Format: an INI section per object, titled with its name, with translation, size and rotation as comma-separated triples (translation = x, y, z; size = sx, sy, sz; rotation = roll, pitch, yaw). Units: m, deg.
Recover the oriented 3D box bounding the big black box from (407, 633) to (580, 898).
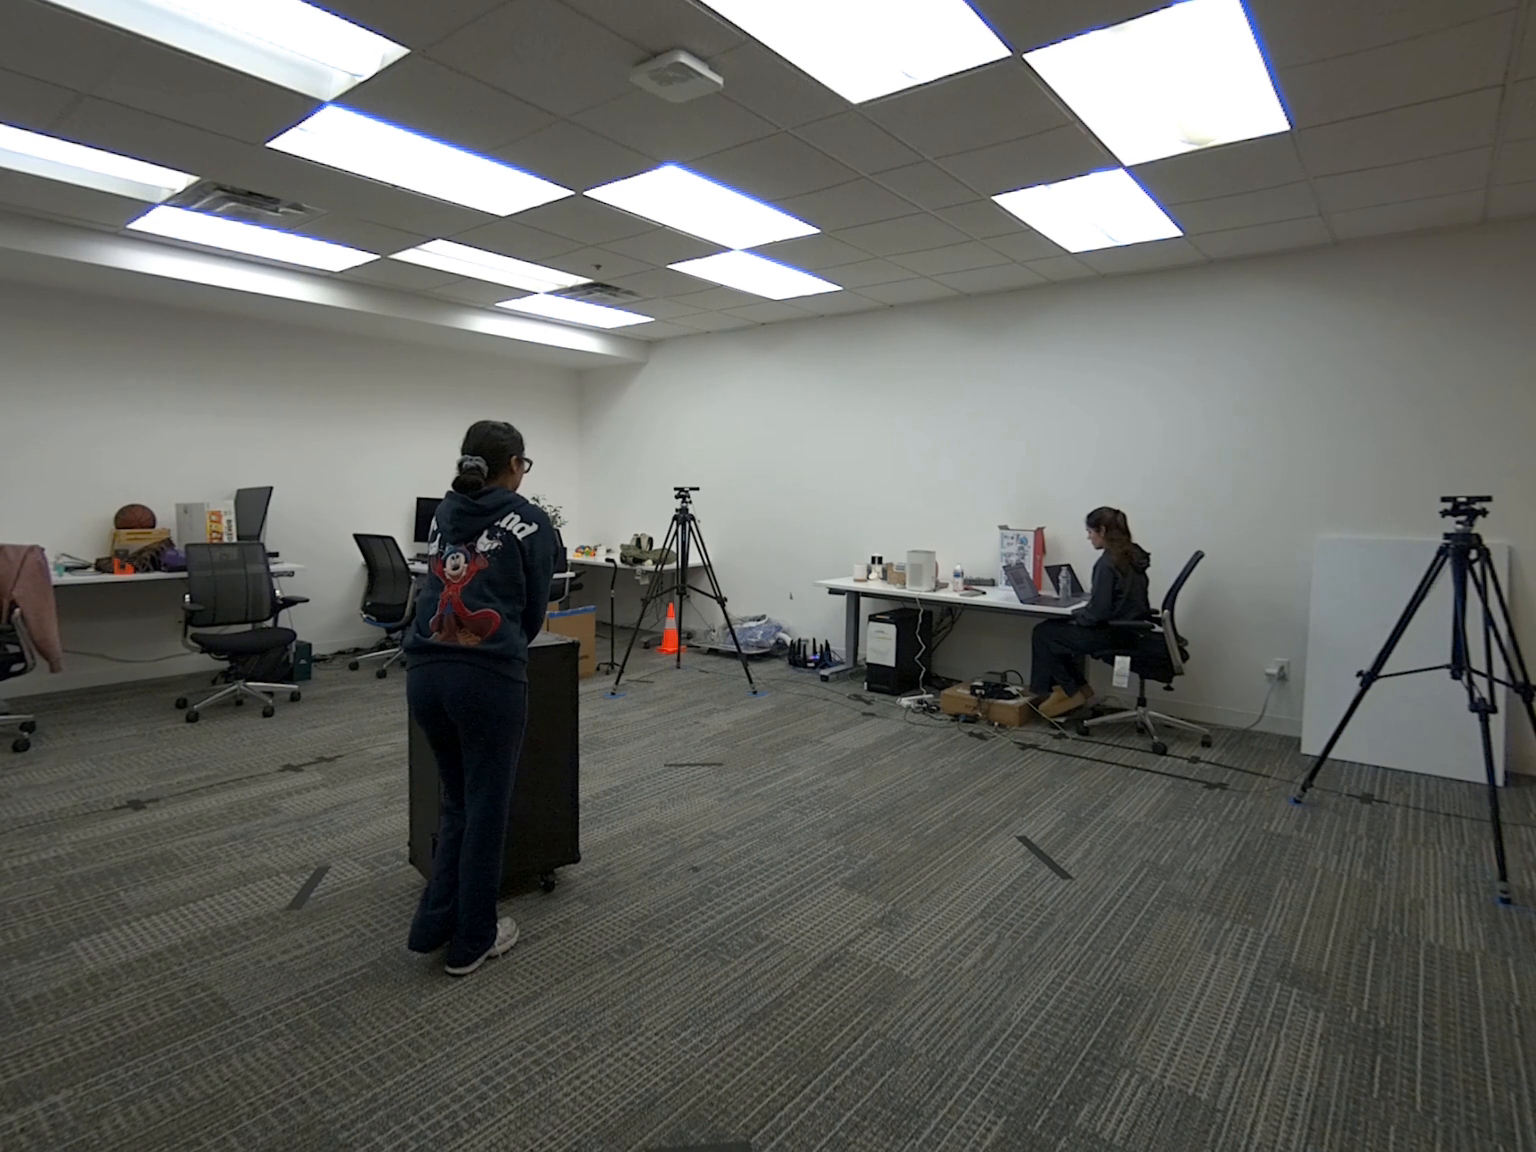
[big black box]
translation = -0.971, 0.647, 2.958
size = 0.505, 0.859, 0.409
rotation = -2, 3, -40
